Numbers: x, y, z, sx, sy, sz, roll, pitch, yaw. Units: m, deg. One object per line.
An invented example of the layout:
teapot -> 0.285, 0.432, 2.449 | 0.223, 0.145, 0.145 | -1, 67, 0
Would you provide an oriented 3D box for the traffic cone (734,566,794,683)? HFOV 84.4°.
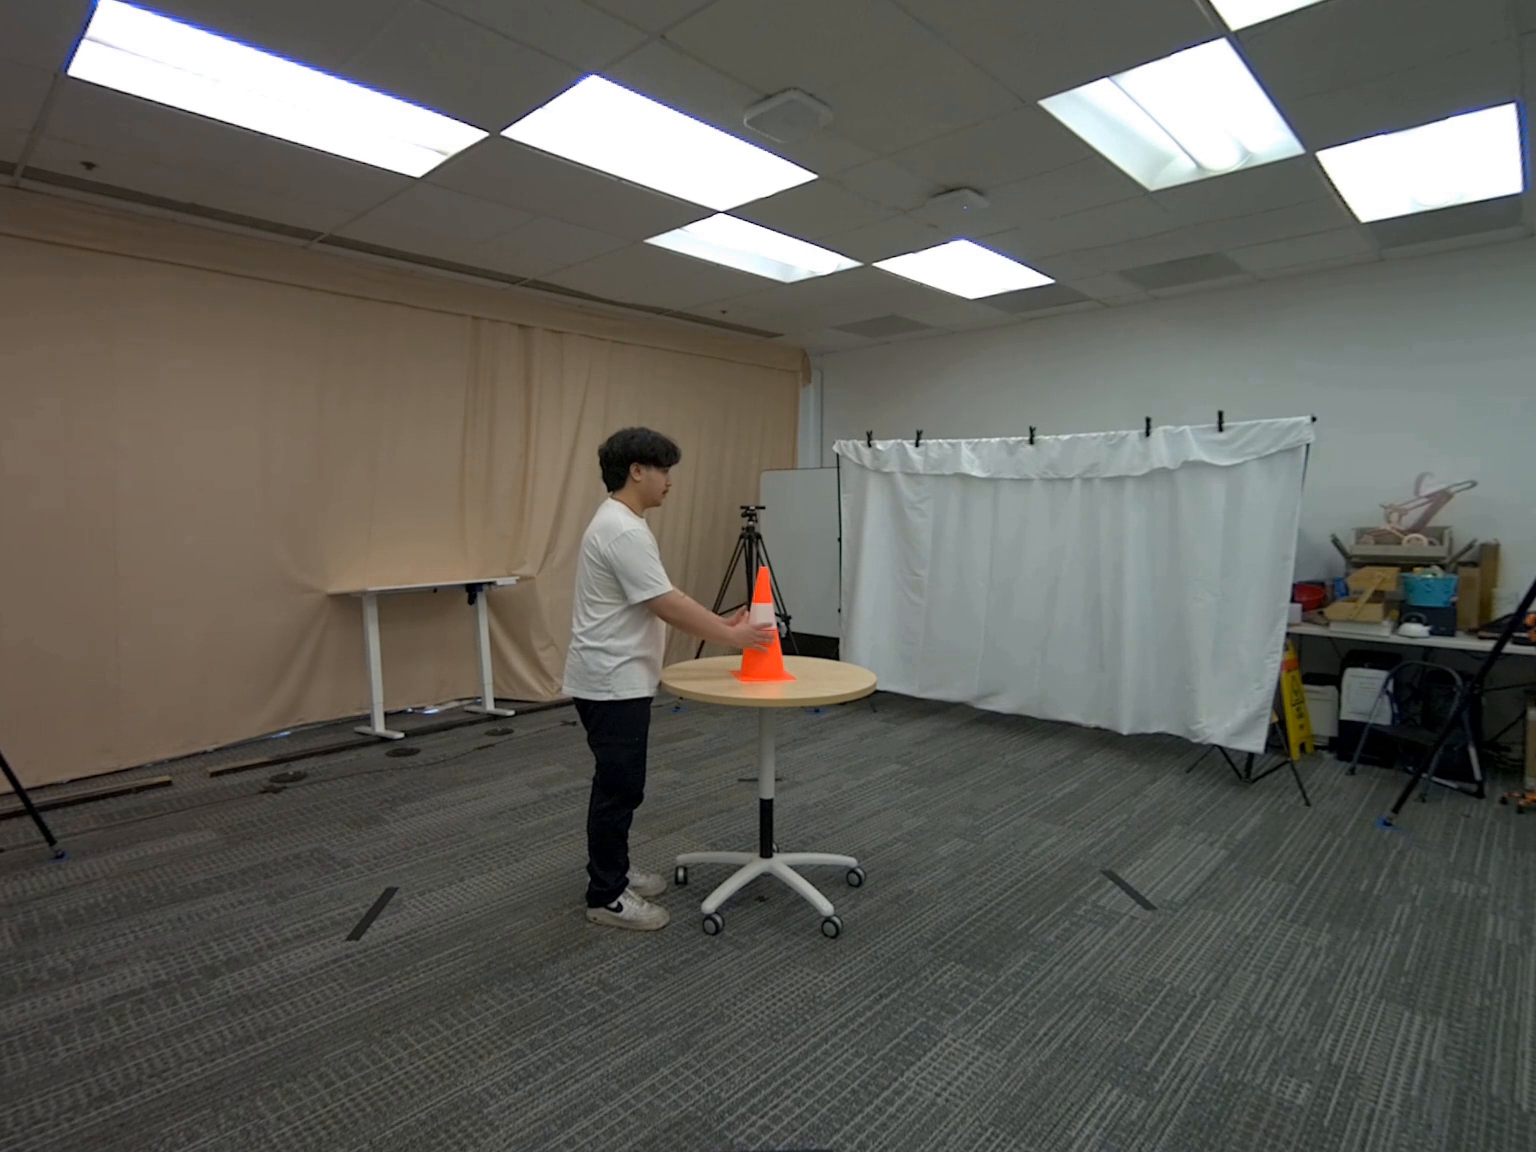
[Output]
traffic cone -> -0.016, 0.164, 2.949 | 0.207, 0.383, 0.201 | 1, 1, 18
